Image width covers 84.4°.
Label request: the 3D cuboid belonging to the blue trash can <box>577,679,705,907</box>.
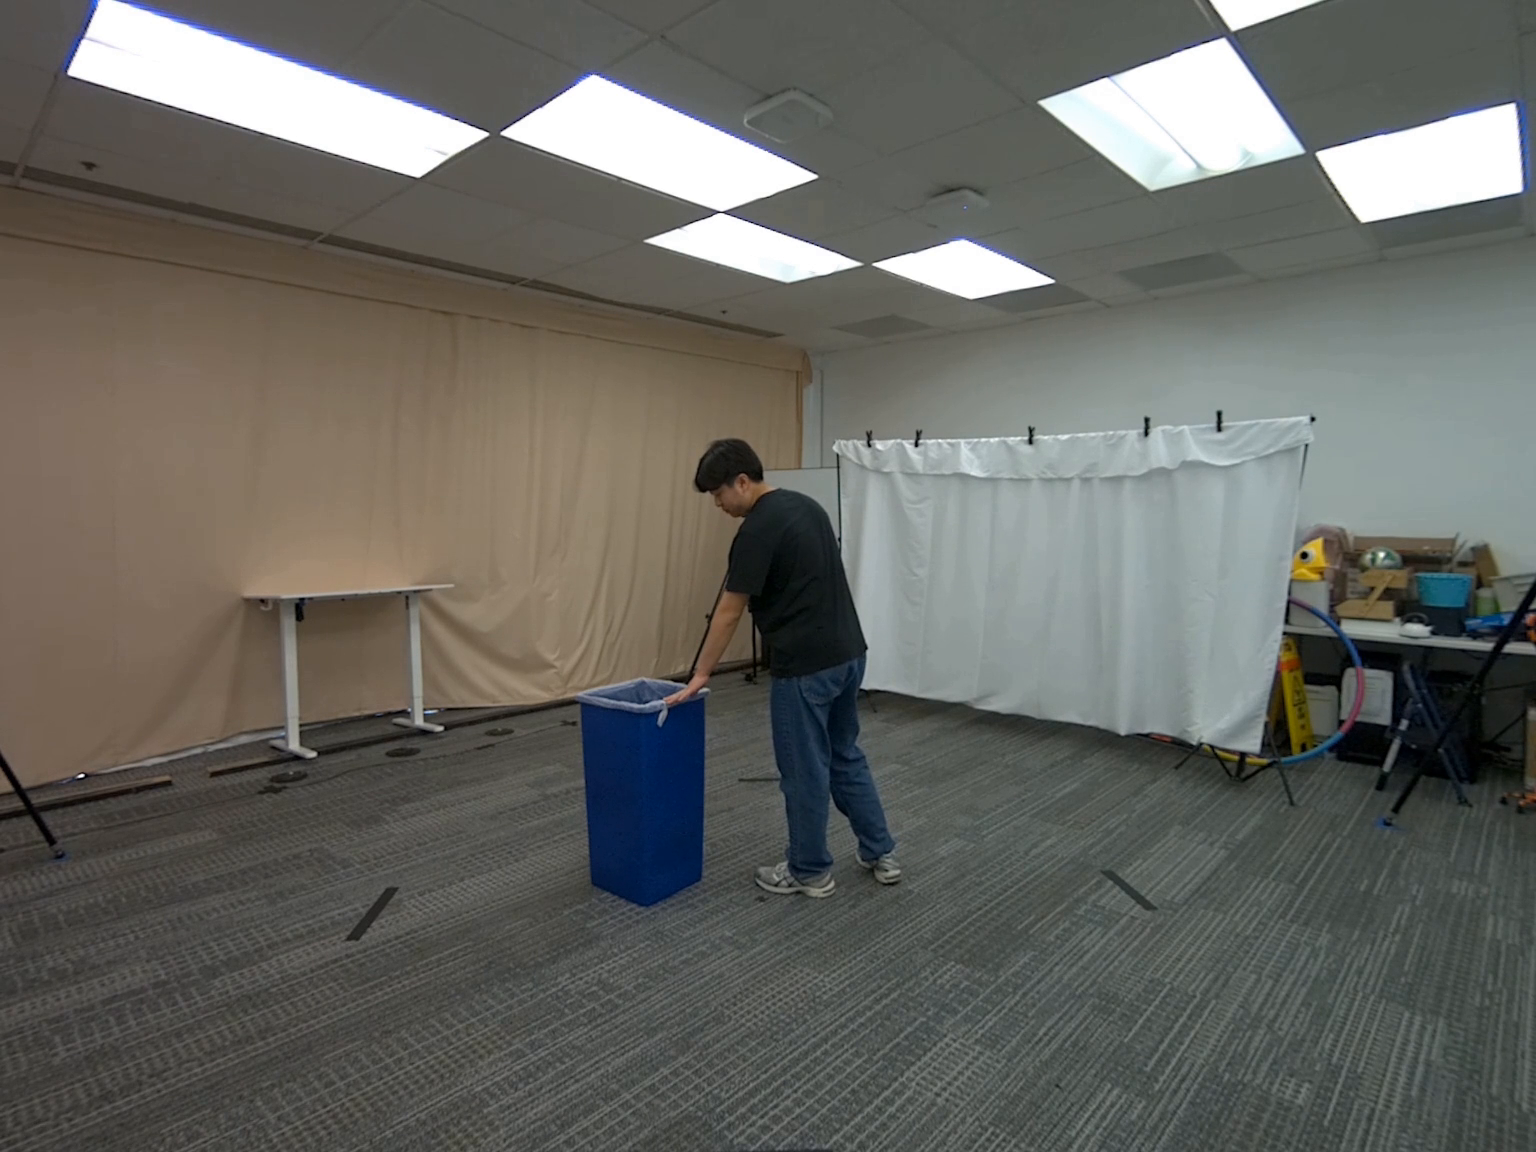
[{"bbox_3d":[-0.463,0.781,3.118,0.386,0.712,0.367,2,4,38],"label":"blue trash can"}]
